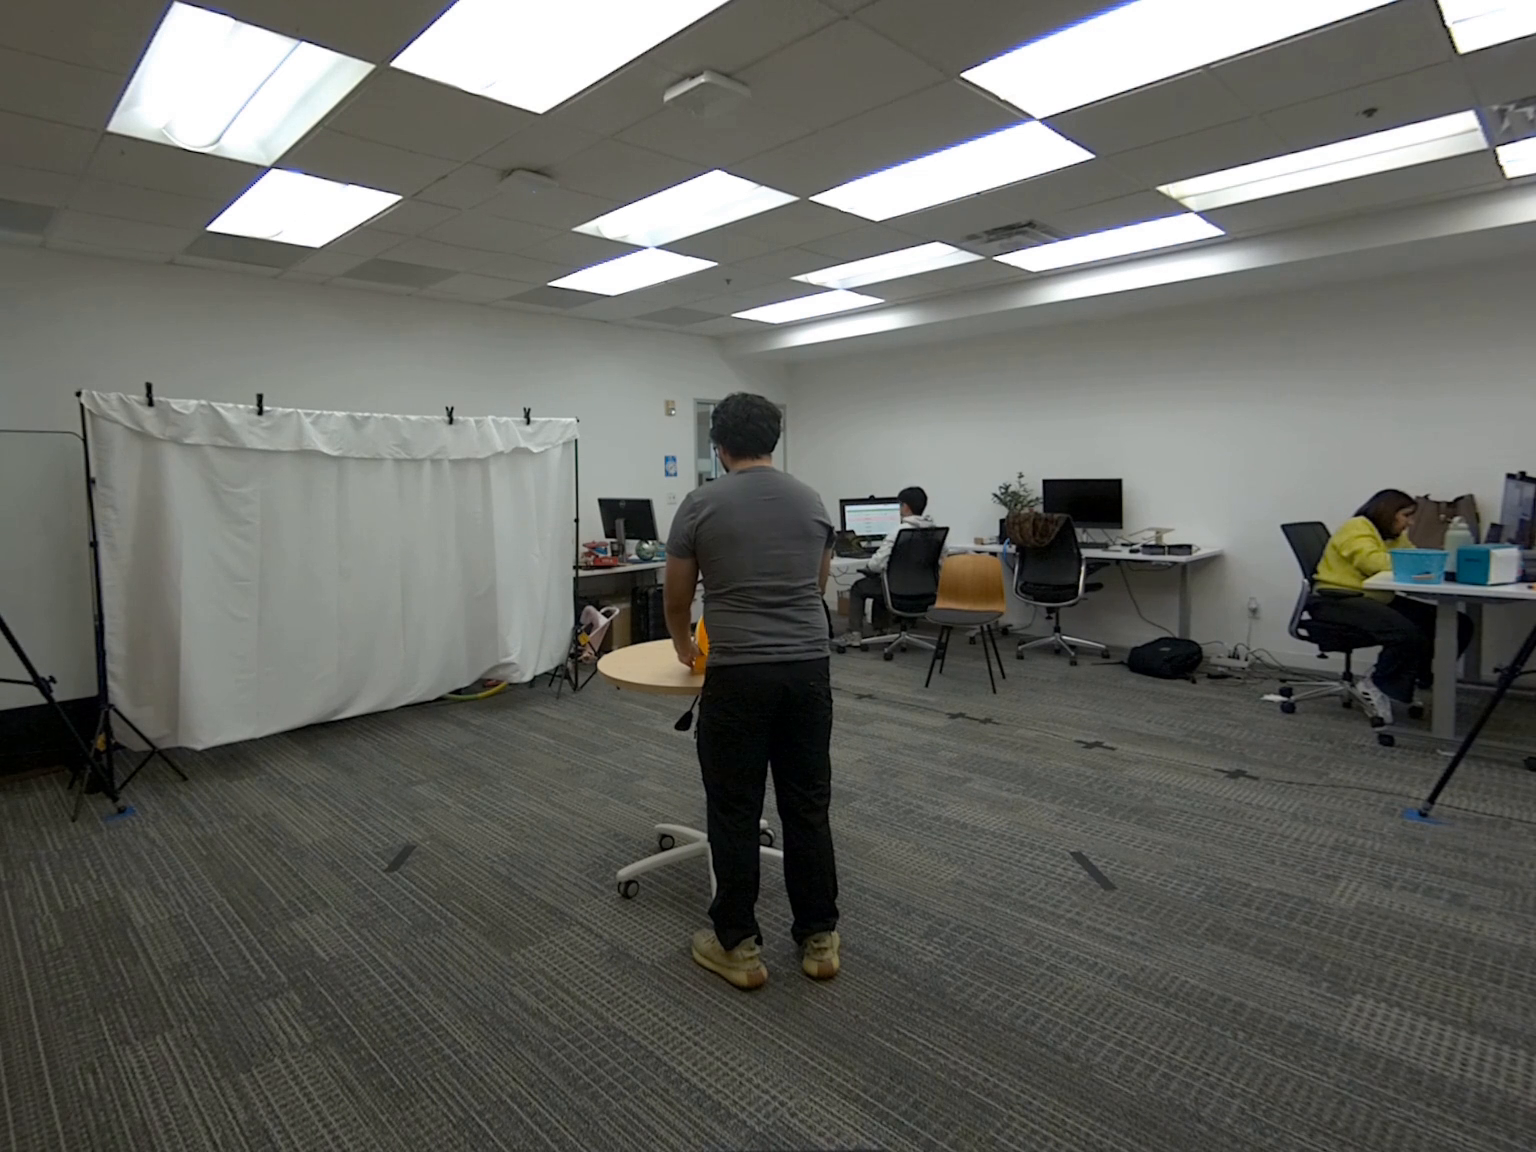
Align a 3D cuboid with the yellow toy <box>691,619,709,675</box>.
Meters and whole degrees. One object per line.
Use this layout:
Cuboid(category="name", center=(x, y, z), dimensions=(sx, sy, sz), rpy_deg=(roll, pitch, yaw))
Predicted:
Cuboid(category="yellow toy", center=(-0.166, 0.210, 2.827), dimensions=(0.201, 0.194, 0.233), rpy_deg=(-5, -7, -22))
